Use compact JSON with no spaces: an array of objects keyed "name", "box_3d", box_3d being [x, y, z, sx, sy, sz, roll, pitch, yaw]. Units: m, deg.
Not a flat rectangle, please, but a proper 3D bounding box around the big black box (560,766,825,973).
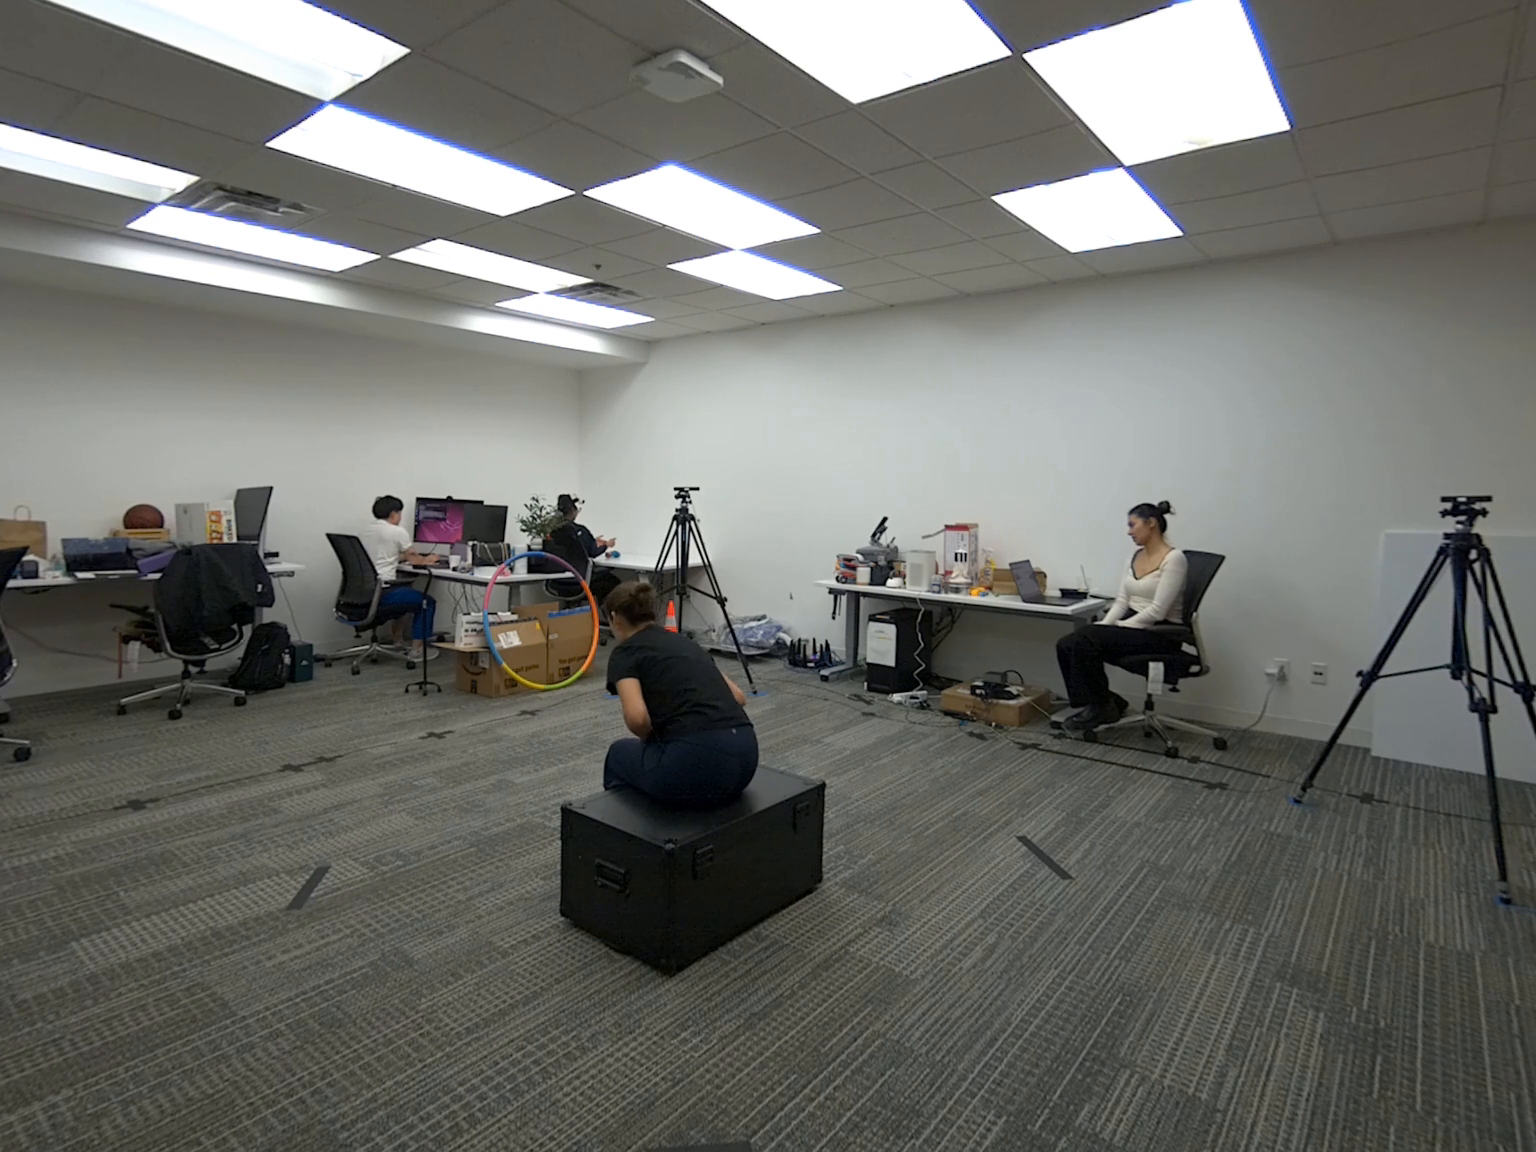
[{"name":"big black box","box_3d":[-0.198,0.903,2.862,0.539,0.394,0.837,5,7,39]}]
